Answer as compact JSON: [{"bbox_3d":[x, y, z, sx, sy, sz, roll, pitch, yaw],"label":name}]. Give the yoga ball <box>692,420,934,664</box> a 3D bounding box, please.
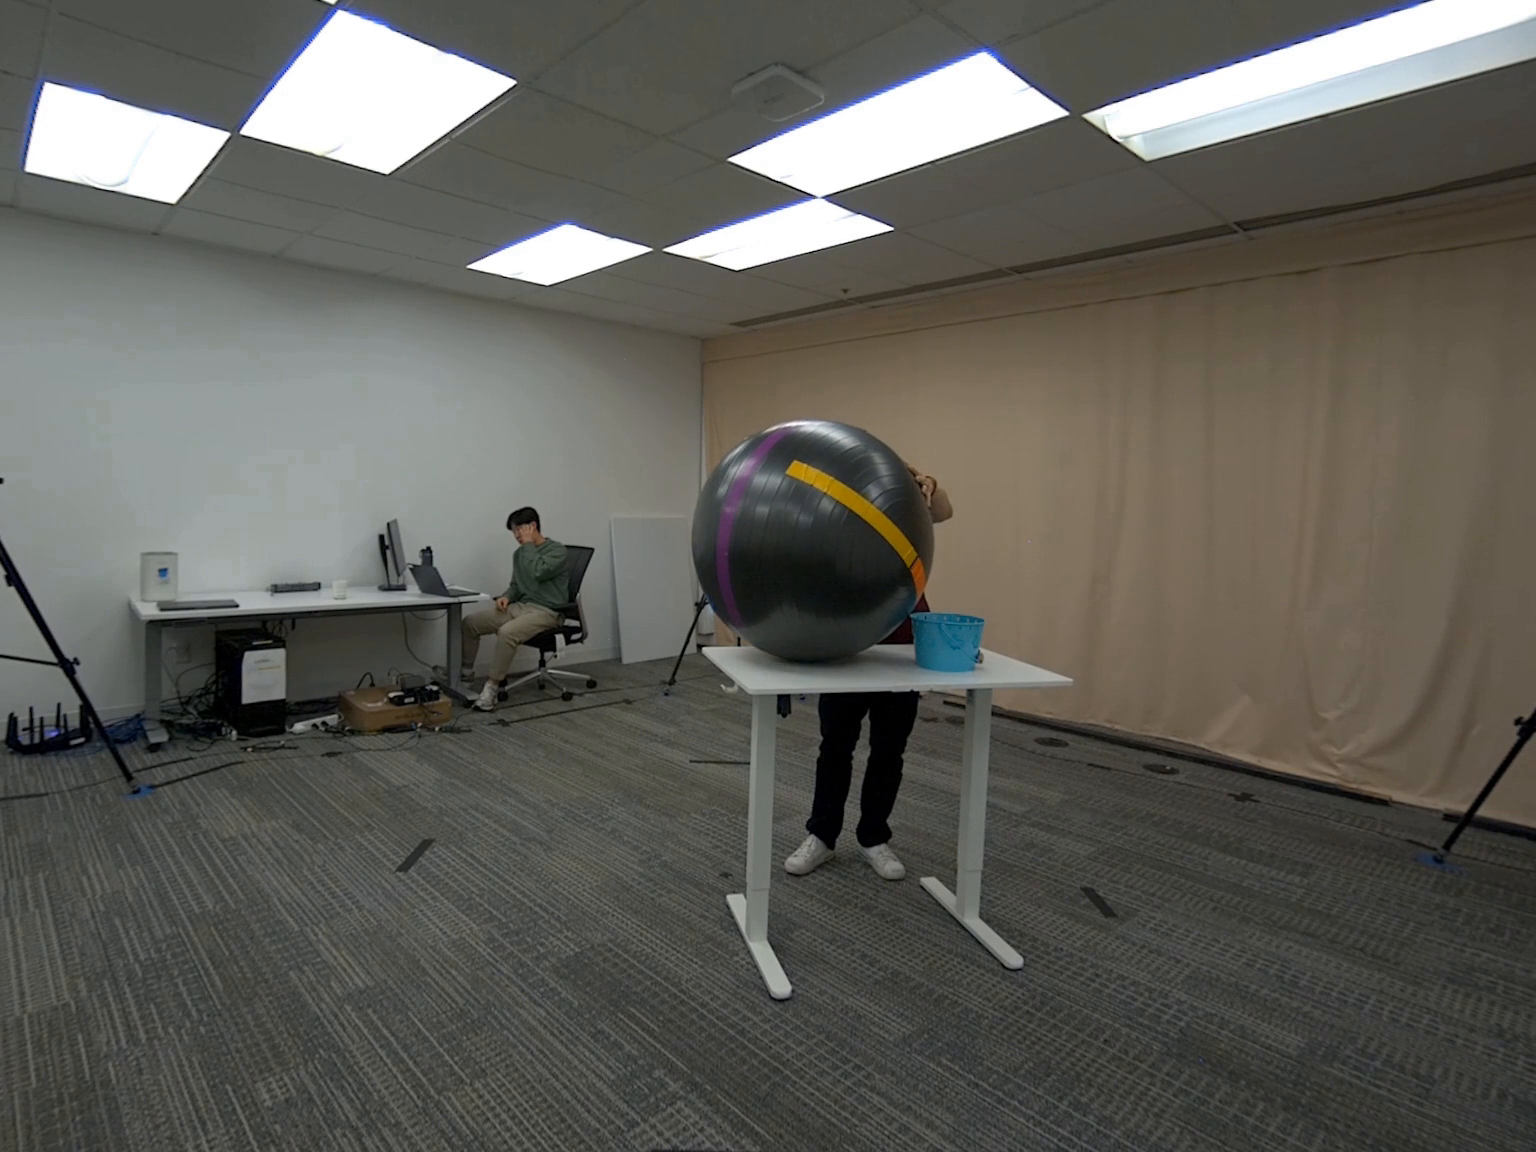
[{"bbox_3d":[0.142,-0.104,2.653,0.757,0.756,0.760,1,4,-1],"label":"yoga ball"}]
